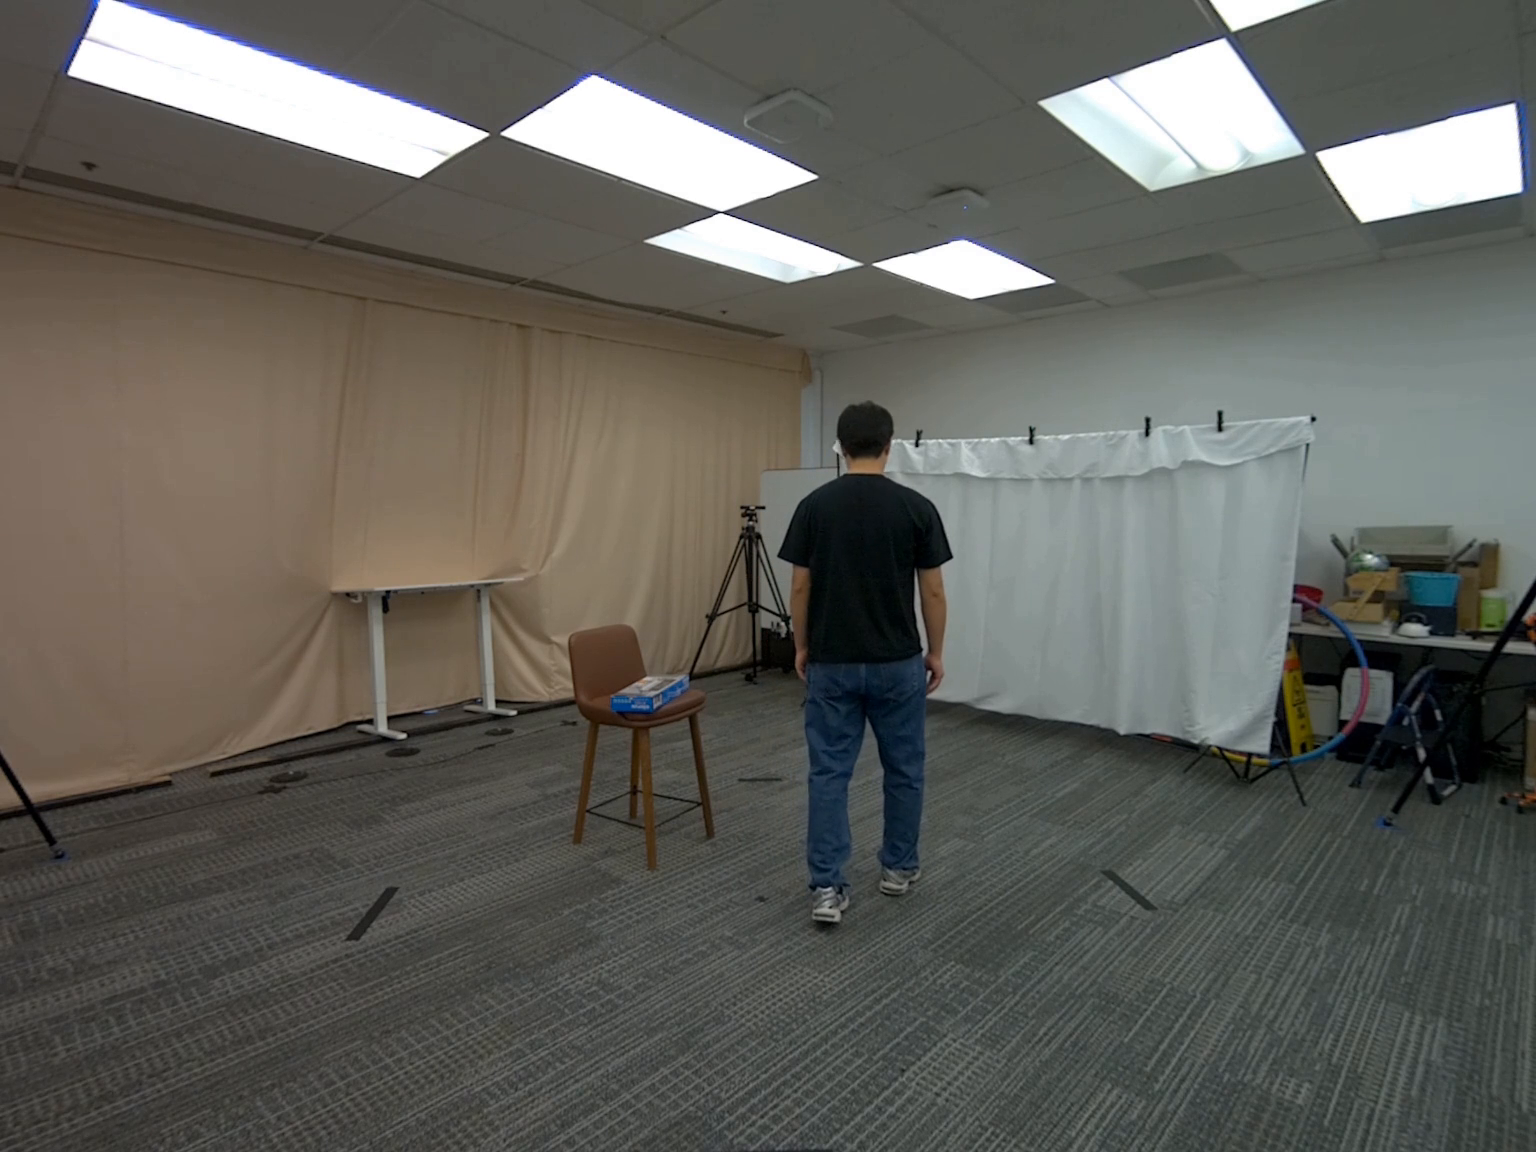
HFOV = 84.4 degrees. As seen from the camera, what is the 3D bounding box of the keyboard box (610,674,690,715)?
[{"bbox_3d":[-0.470,0.466,3.411,0.179,0.059,0.430,-1,5,15],"label":"keyboard box"}]
